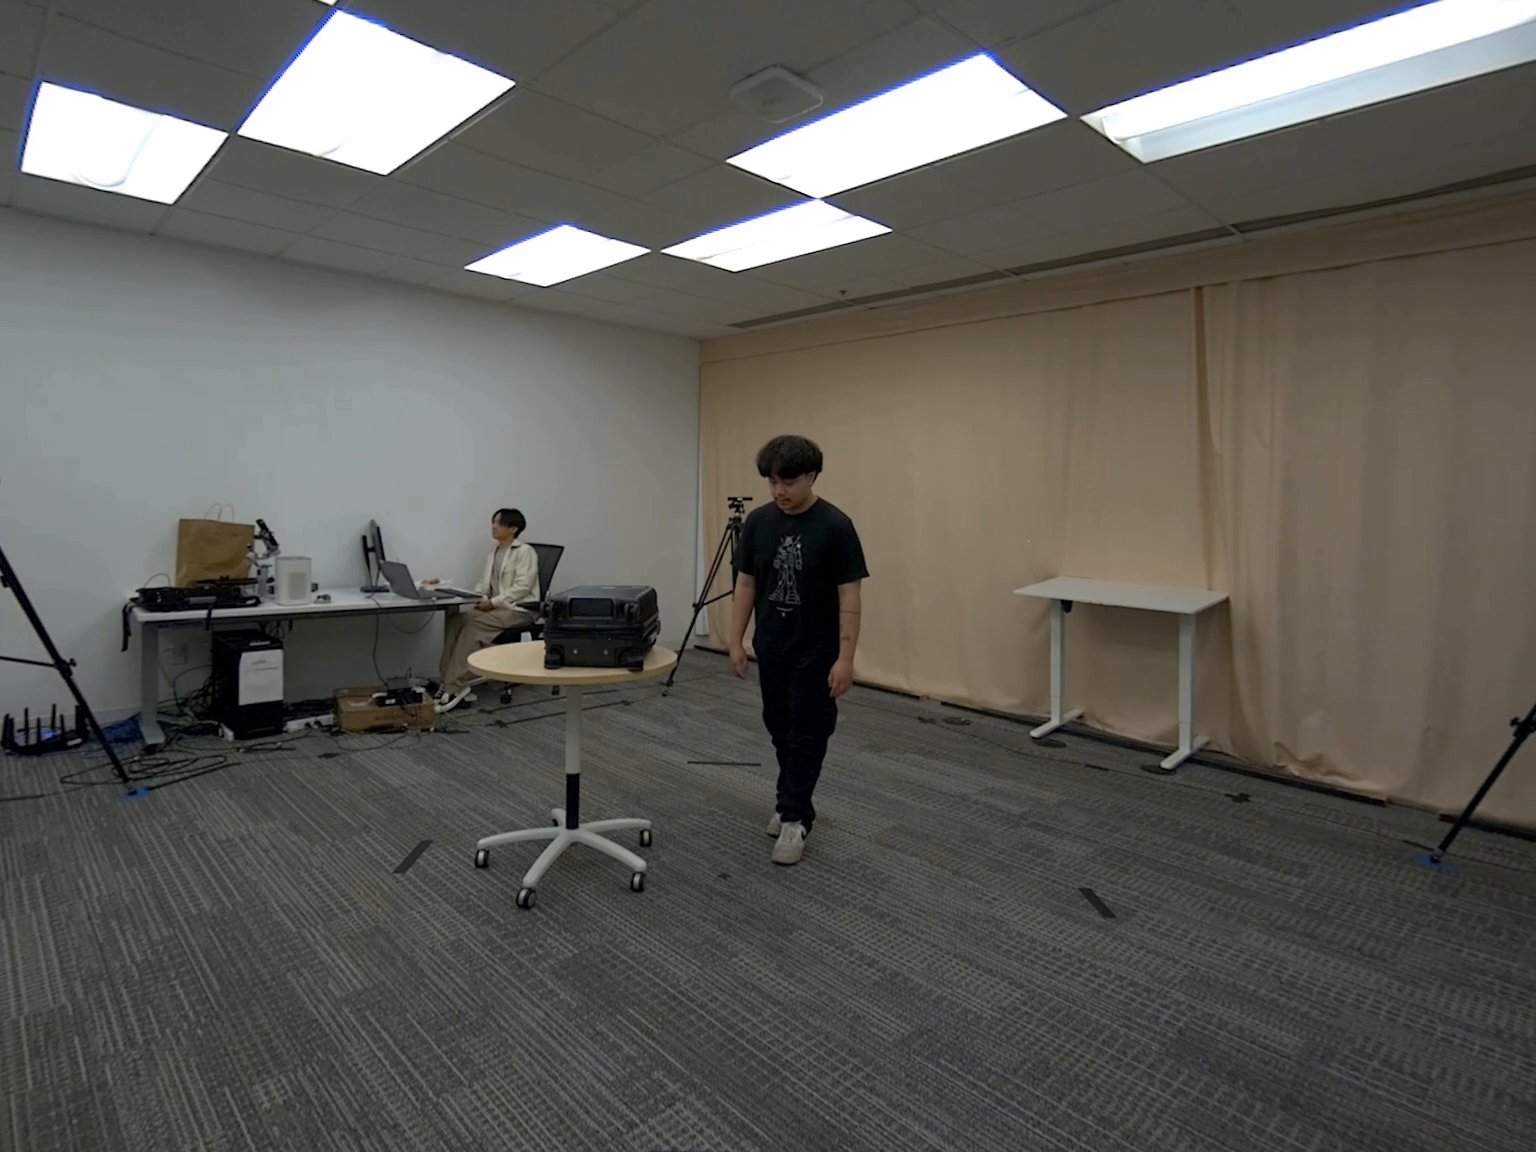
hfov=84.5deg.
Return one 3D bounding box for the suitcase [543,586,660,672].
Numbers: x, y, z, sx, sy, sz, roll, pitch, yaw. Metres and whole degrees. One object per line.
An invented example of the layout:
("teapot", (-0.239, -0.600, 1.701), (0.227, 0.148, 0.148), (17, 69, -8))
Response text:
("suitcase", (-0.619, 0.180, 3.128), (0.376, 0.248, 0.549), (-1, 4, 2))
